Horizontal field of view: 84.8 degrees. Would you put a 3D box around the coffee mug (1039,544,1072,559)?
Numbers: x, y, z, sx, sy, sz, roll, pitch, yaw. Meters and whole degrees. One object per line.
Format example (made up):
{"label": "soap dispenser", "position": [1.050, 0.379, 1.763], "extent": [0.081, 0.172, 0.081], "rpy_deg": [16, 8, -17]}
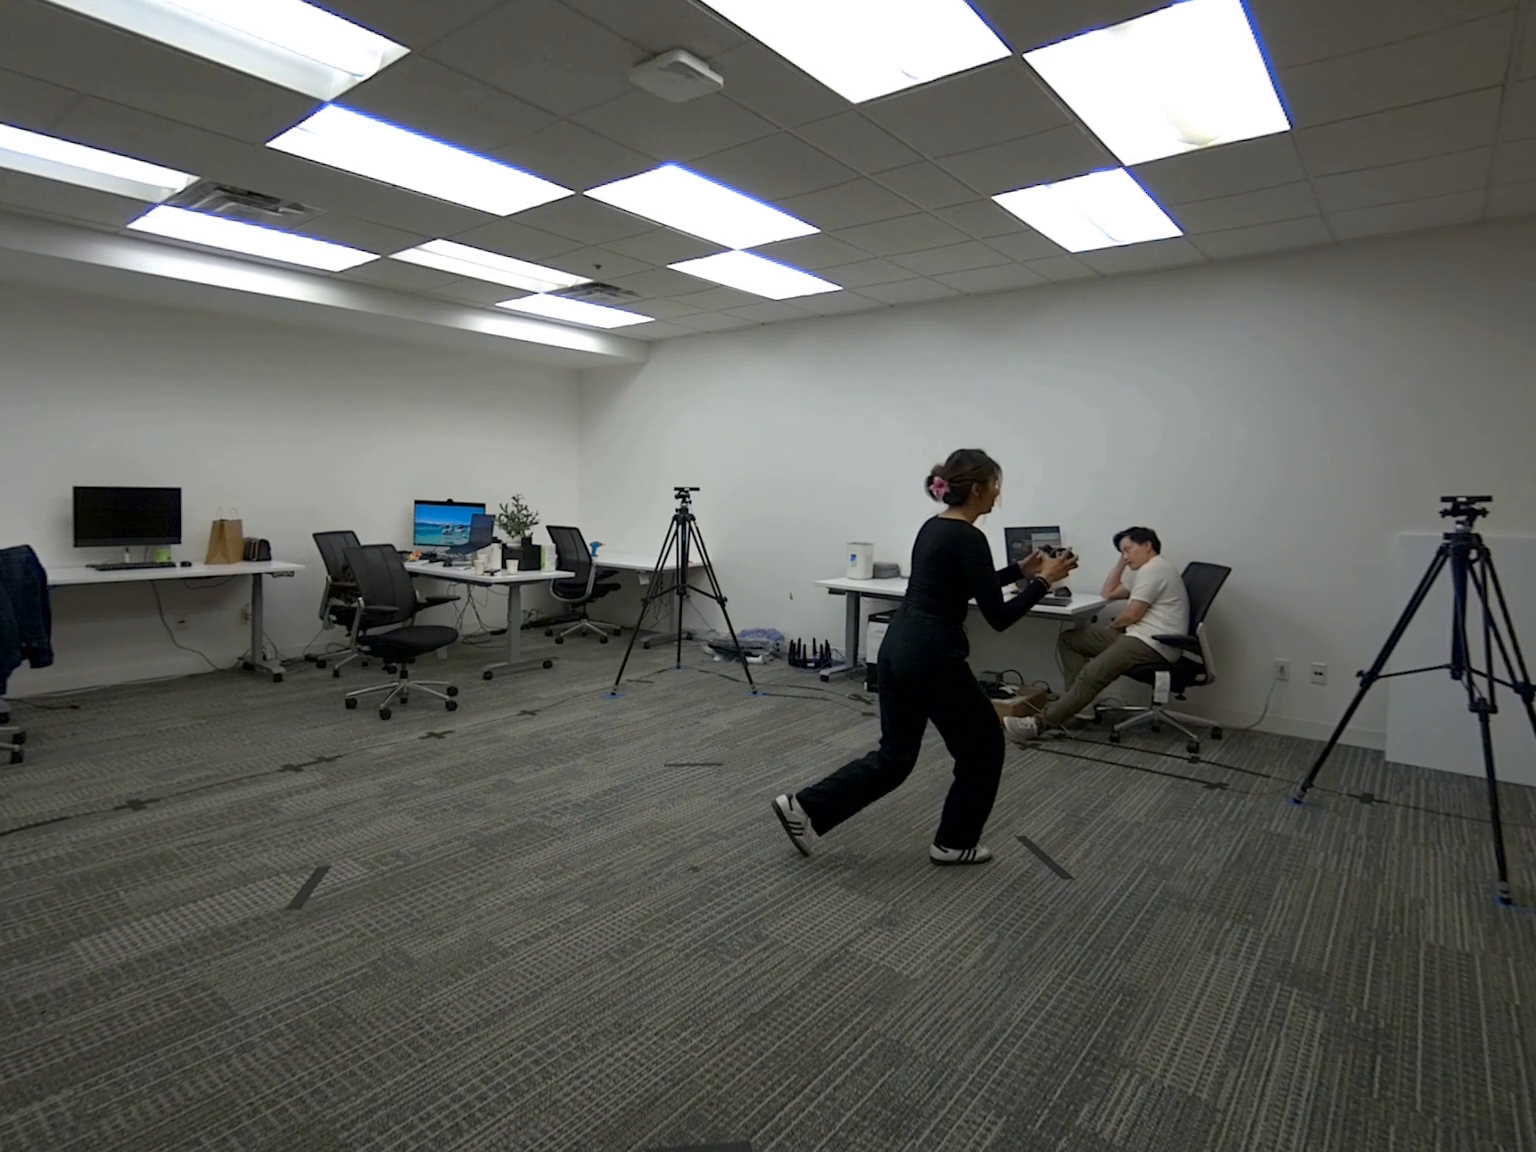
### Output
{"label": "coffee mug", "position": [1.053, -0.066, 3.137], "extent": [0.088, 0.121, 0.203], "rpy_deg": [-28, 5, 10]}
